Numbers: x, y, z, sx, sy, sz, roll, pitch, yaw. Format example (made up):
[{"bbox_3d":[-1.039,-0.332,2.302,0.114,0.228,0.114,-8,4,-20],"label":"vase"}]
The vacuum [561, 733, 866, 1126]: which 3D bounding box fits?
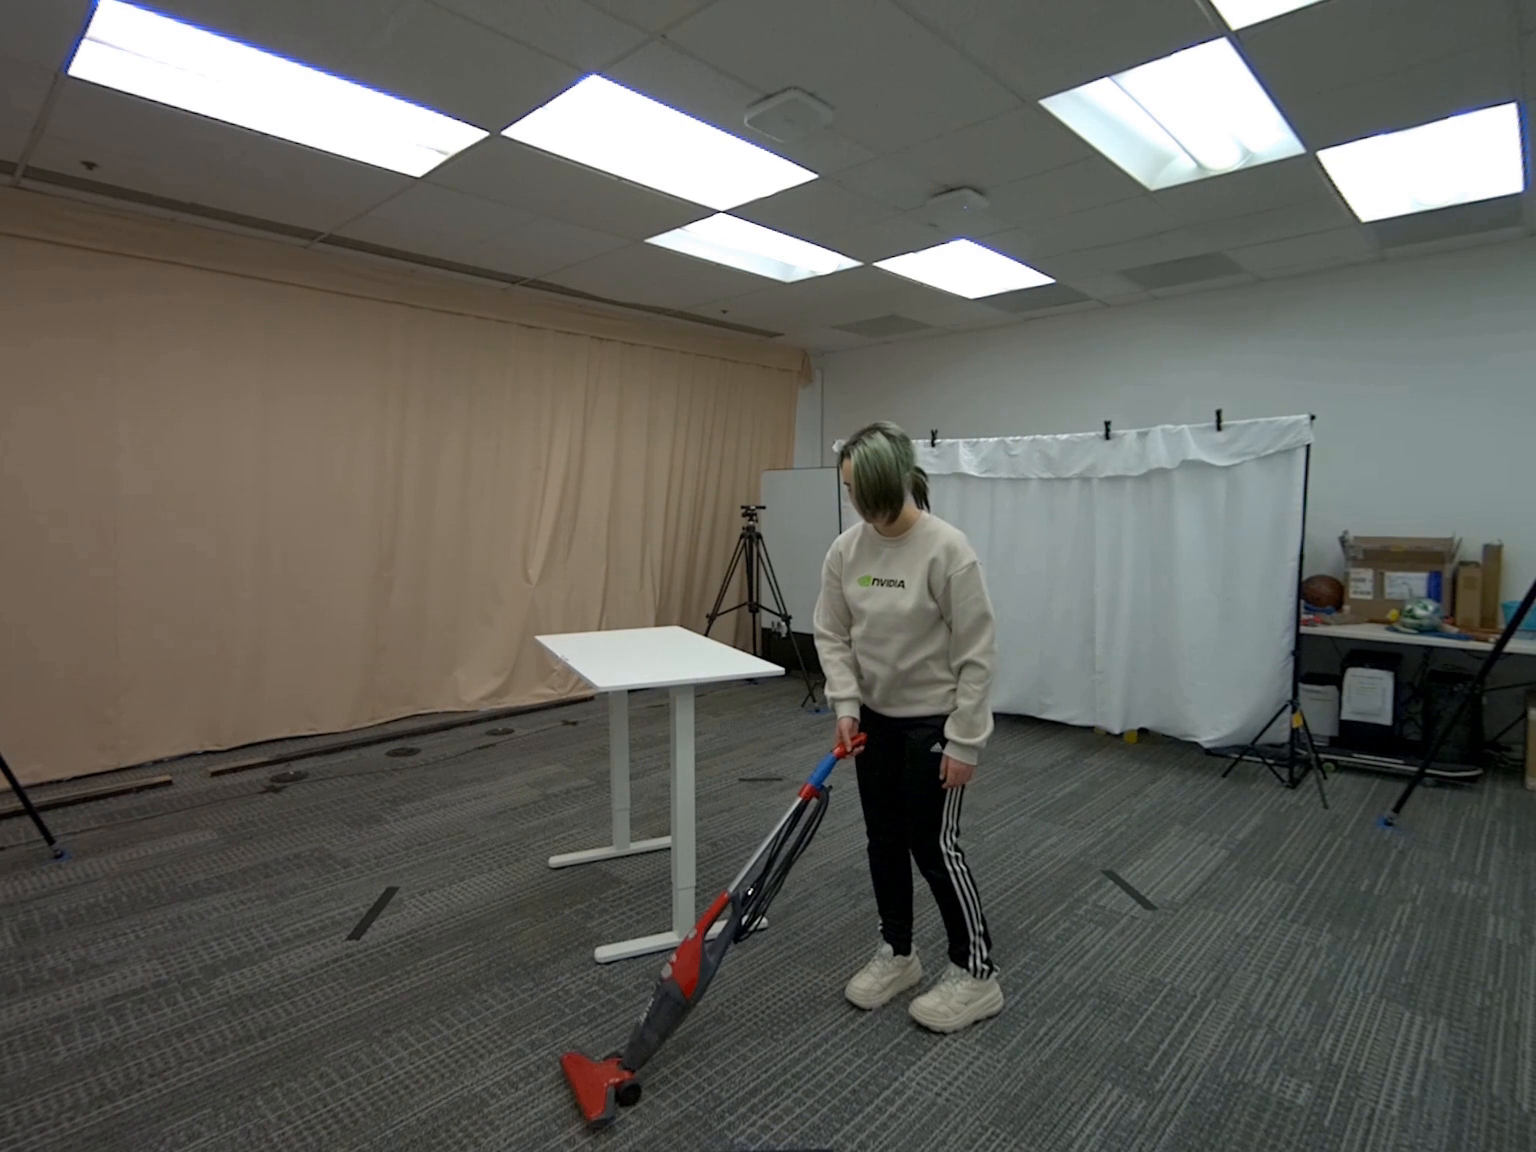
[{"bbox_3d":[-0.066,0.846,2.128,1.045,0.140,0.260,-48,24,-16],"label":"vacuum"}]
